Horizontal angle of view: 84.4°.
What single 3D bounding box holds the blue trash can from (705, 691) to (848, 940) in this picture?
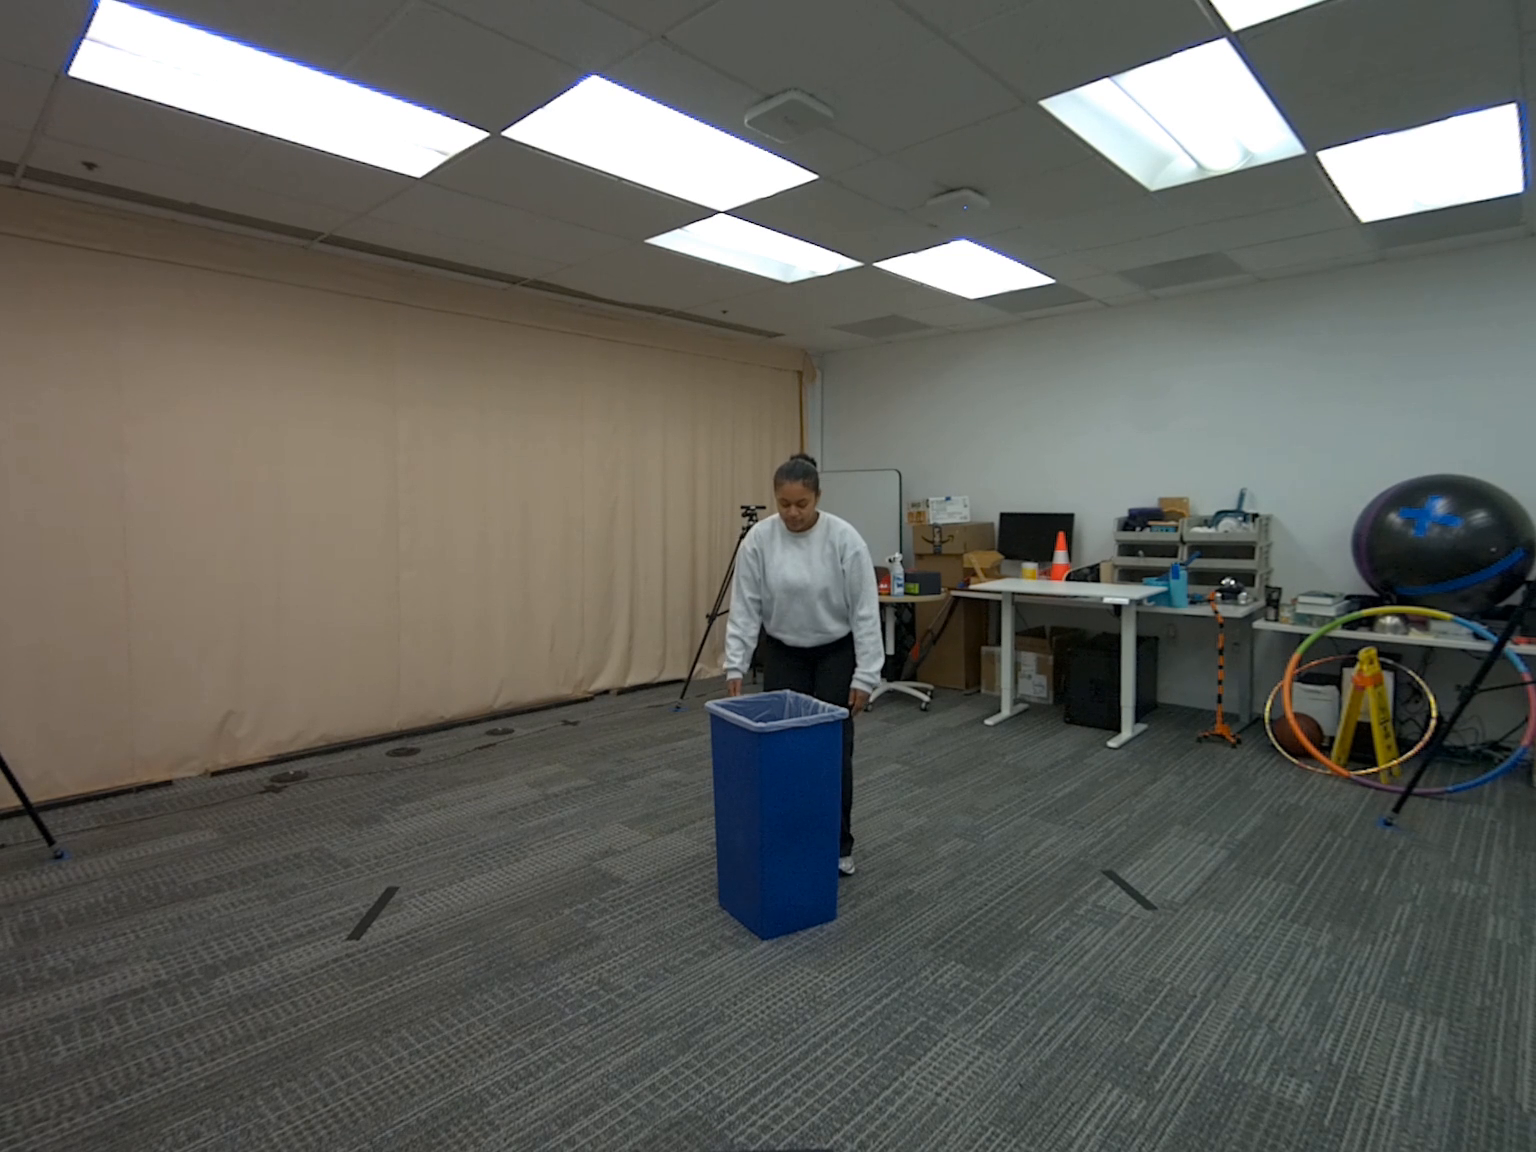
[{"bbox_3d":[0.019,0.796,2.875,0.367,0.712,0.385,-3,5,-33],"label":"blue trash can"}]
